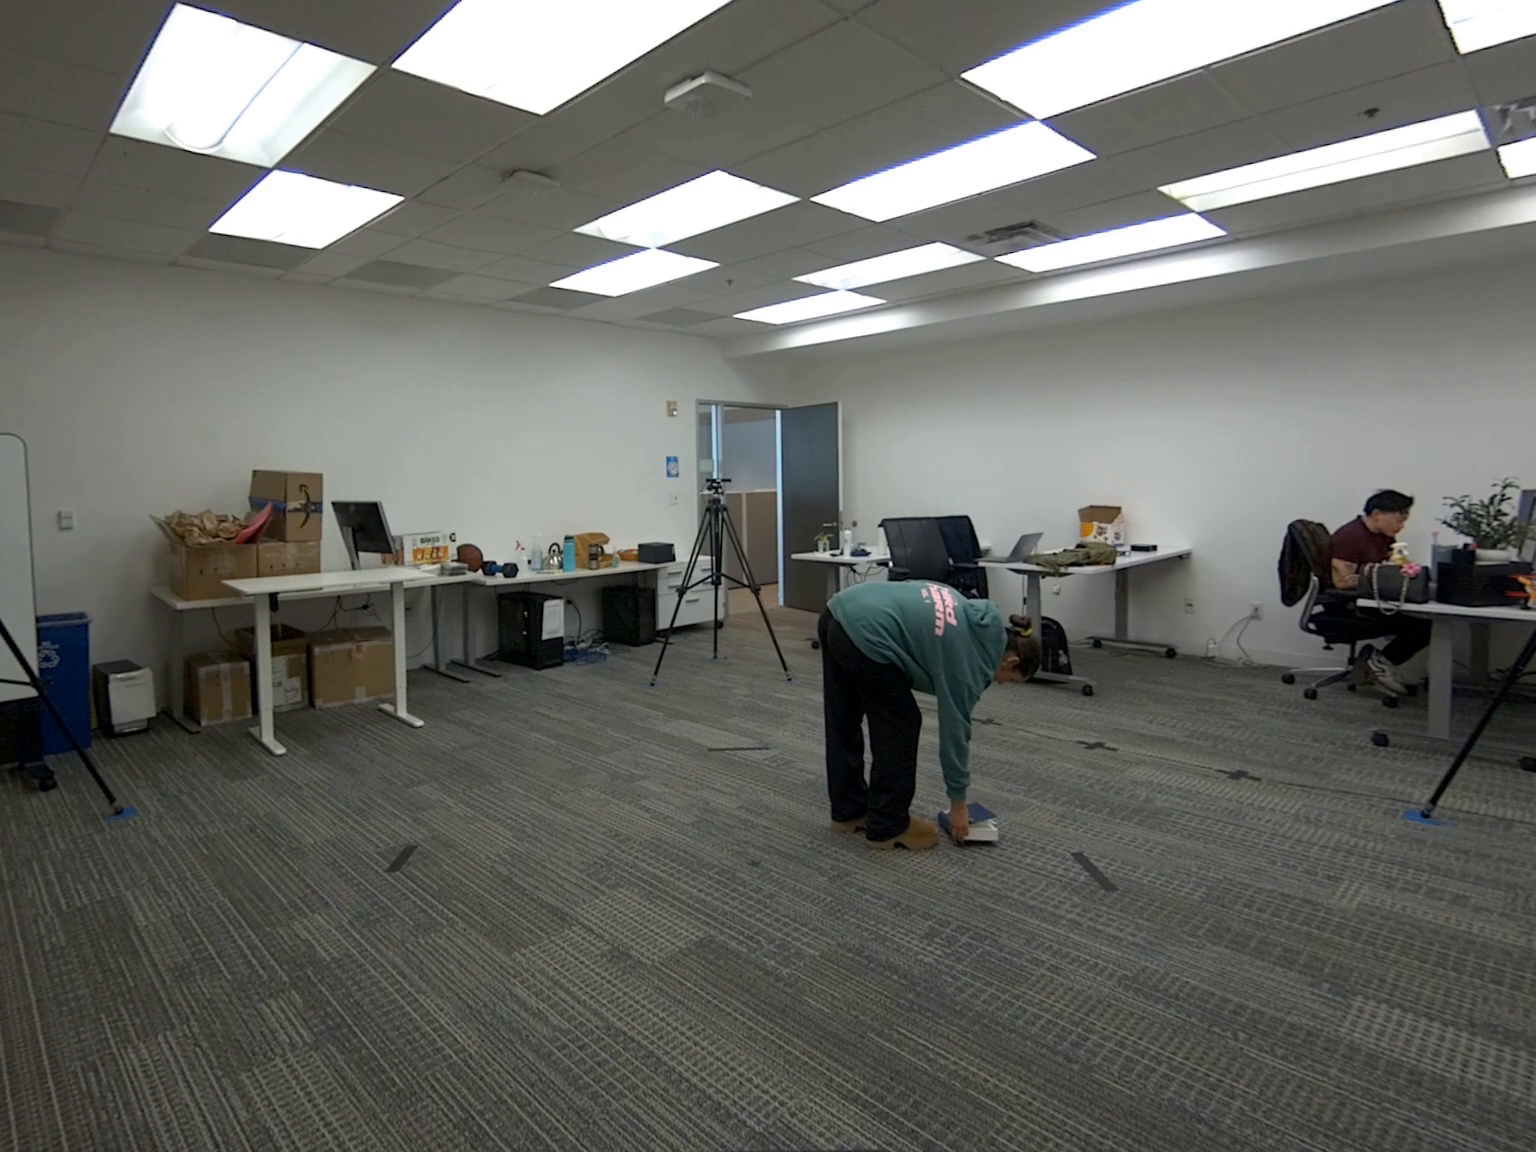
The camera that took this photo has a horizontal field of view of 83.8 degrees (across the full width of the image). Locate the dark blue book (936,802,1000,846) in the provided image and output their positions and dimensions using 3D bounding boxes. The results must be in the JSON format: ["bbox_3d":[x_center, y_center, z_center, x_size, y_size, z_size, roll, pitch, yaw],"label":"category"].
[{"bbox_3d":[0.774,0.955,3.319,0.163,0.045,0.246,-4,1,-4],"label":"dark blue book"}]
